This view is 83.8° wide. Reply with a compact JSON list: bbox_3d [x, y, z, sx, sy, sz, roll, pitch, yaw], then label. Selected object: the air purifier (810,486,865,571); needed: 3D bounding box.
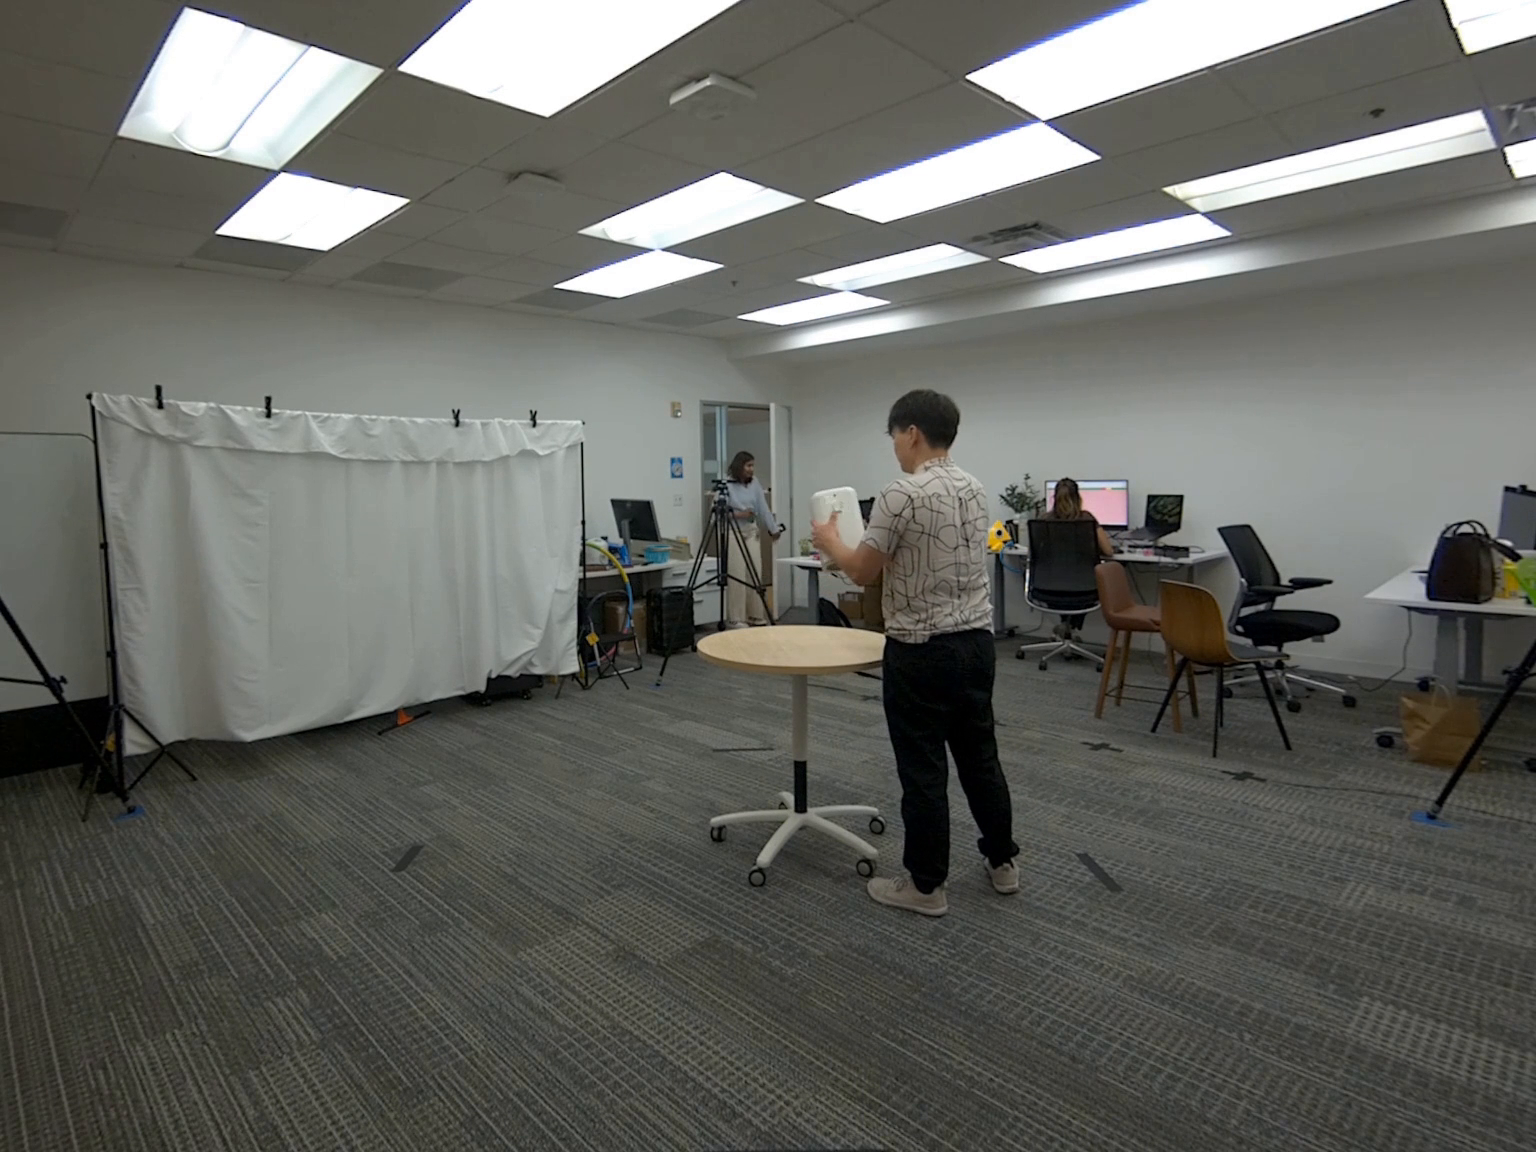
[{"bbox_3d":[0.262,-0.169,3.049,0.171,0.270,0.169,-10,-15,1],"label":"air purifier"}]
